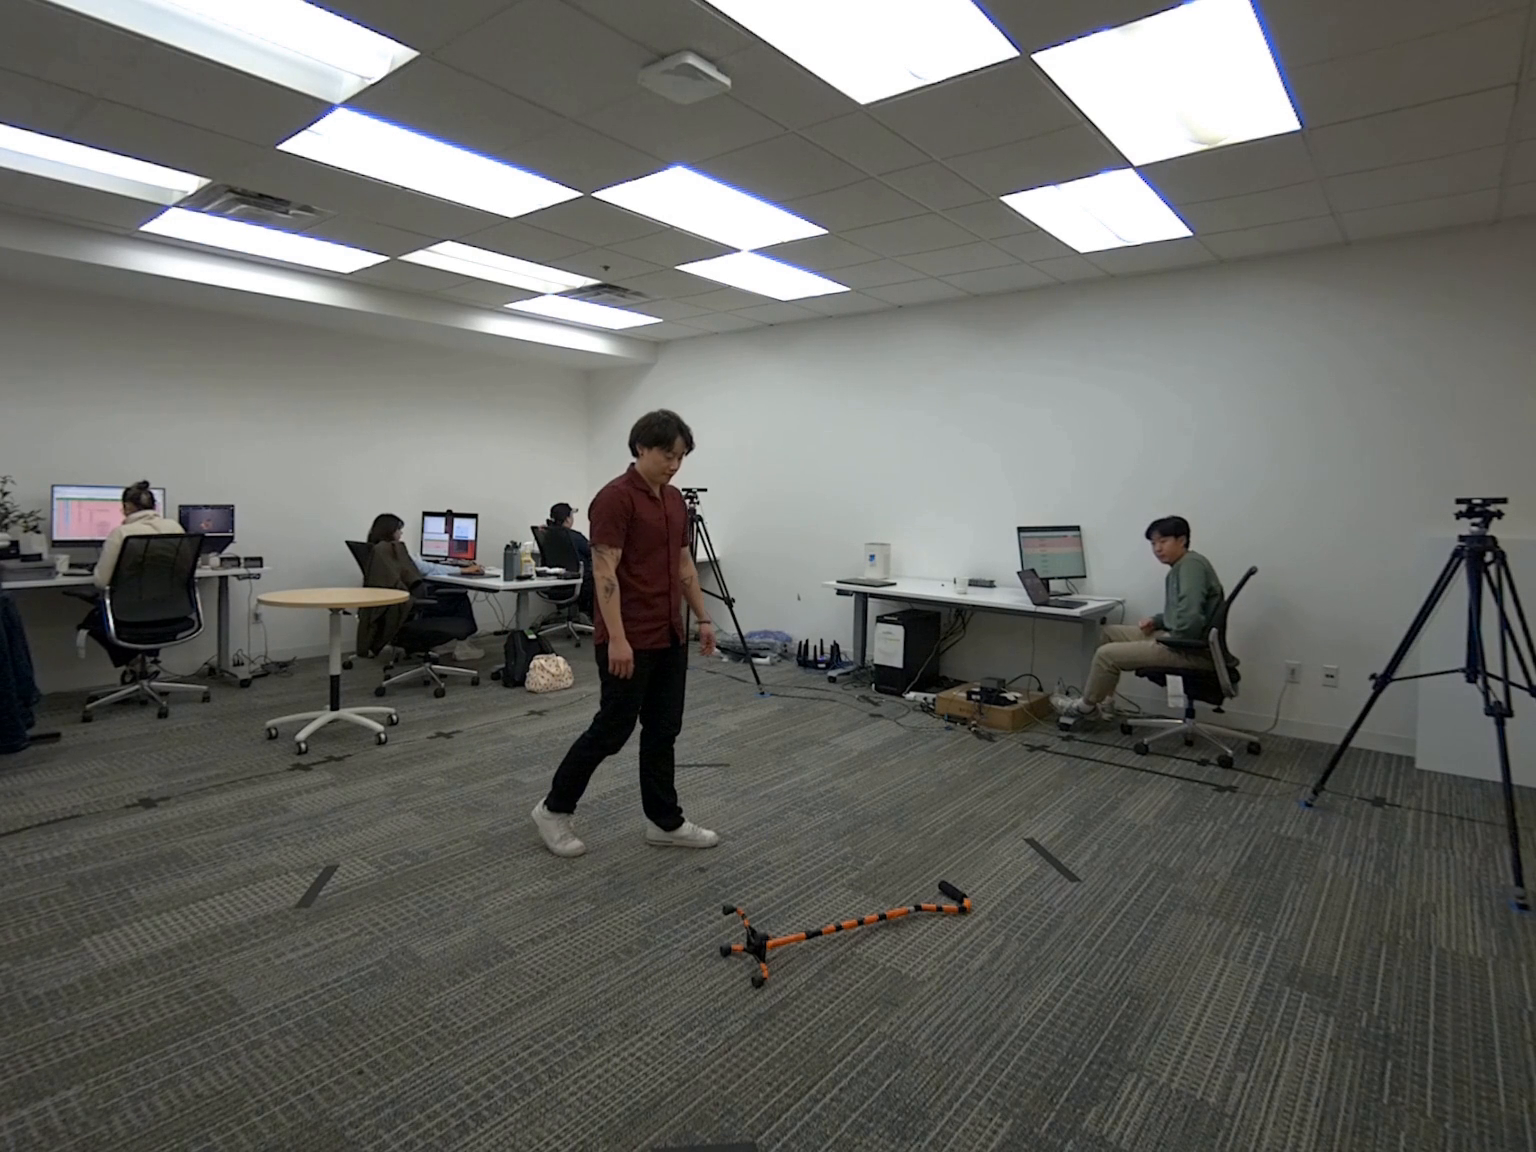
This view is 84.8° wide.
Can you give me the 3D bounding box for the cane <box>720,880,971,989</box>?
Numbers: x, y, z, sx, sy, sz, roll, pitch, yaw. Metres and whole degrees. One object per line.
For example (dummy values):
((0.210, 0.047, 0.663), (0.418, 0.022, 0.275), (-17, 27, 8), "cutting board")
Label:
((0.287, 1.067, 2.679), (0.882, 0.151, 0.213), (2, 6, -31), "cane")
